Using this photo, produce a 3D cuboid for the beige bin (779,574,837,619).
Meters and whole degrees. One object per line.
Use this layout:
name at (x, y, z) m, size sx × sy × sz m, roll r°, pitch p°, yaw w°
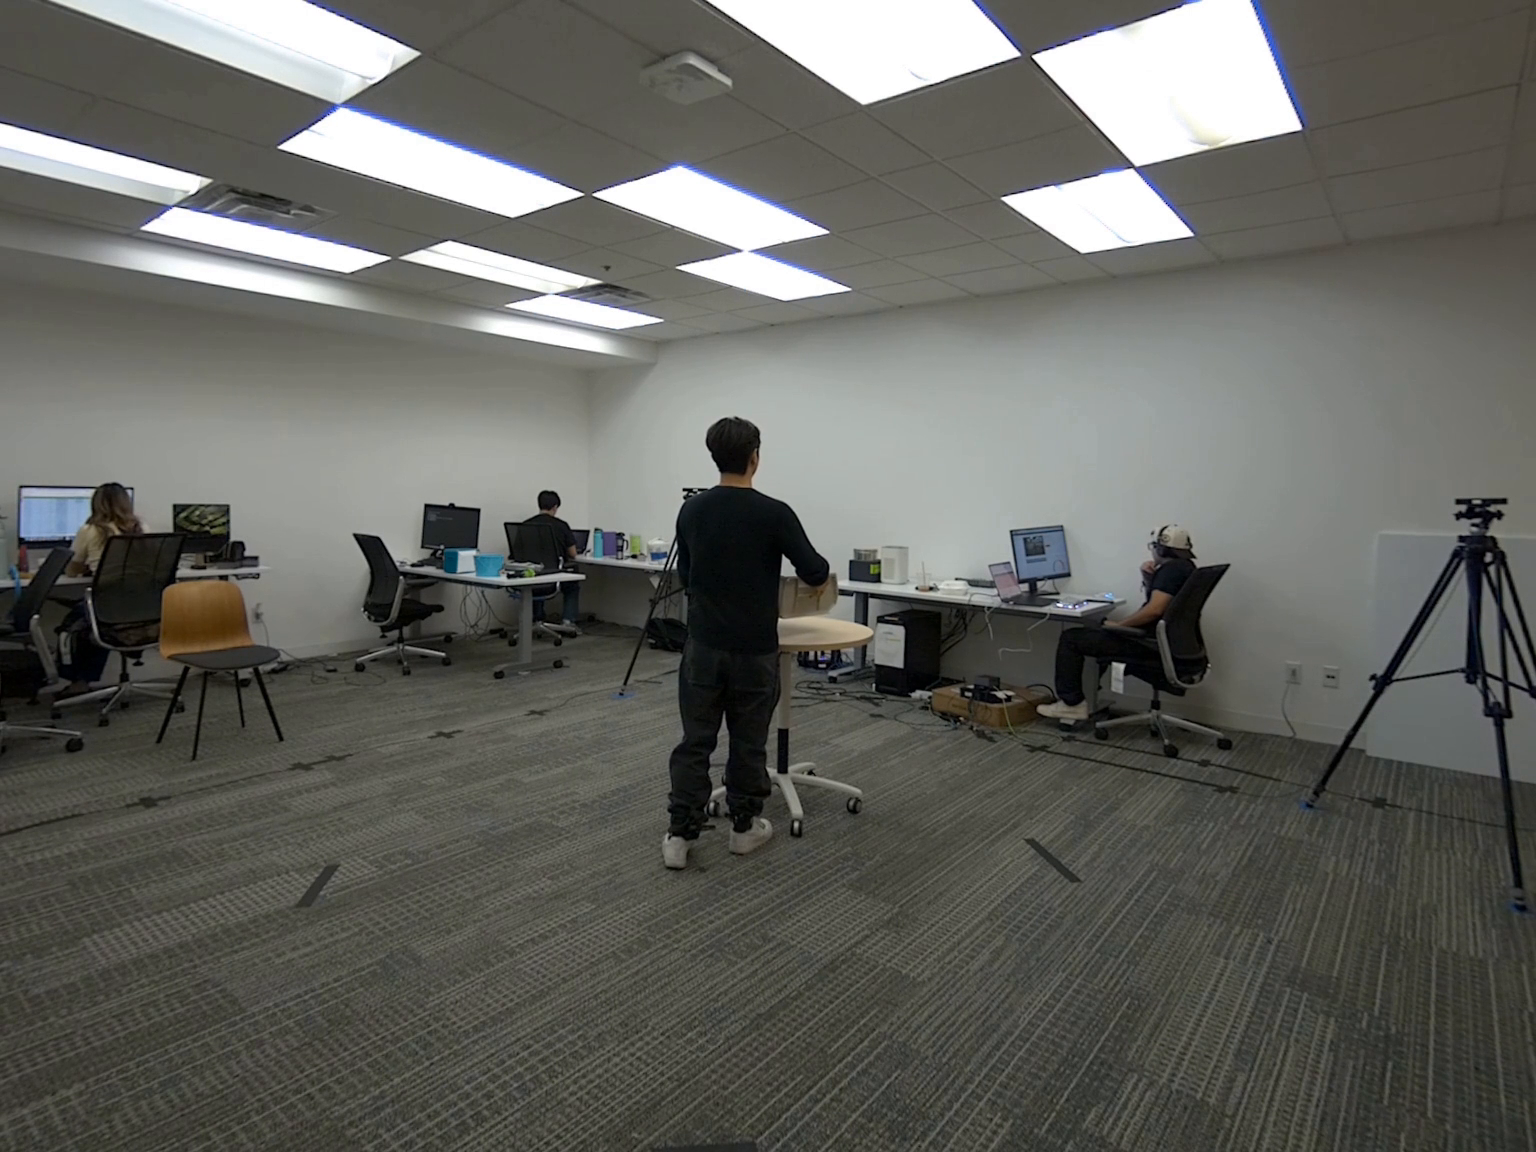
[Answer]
beige bin at (0.023, 0.045, 3.725) m, size 0.438 × 0.188 × 0.366 m, roll 13°, pitch 11°, yaw 42°
